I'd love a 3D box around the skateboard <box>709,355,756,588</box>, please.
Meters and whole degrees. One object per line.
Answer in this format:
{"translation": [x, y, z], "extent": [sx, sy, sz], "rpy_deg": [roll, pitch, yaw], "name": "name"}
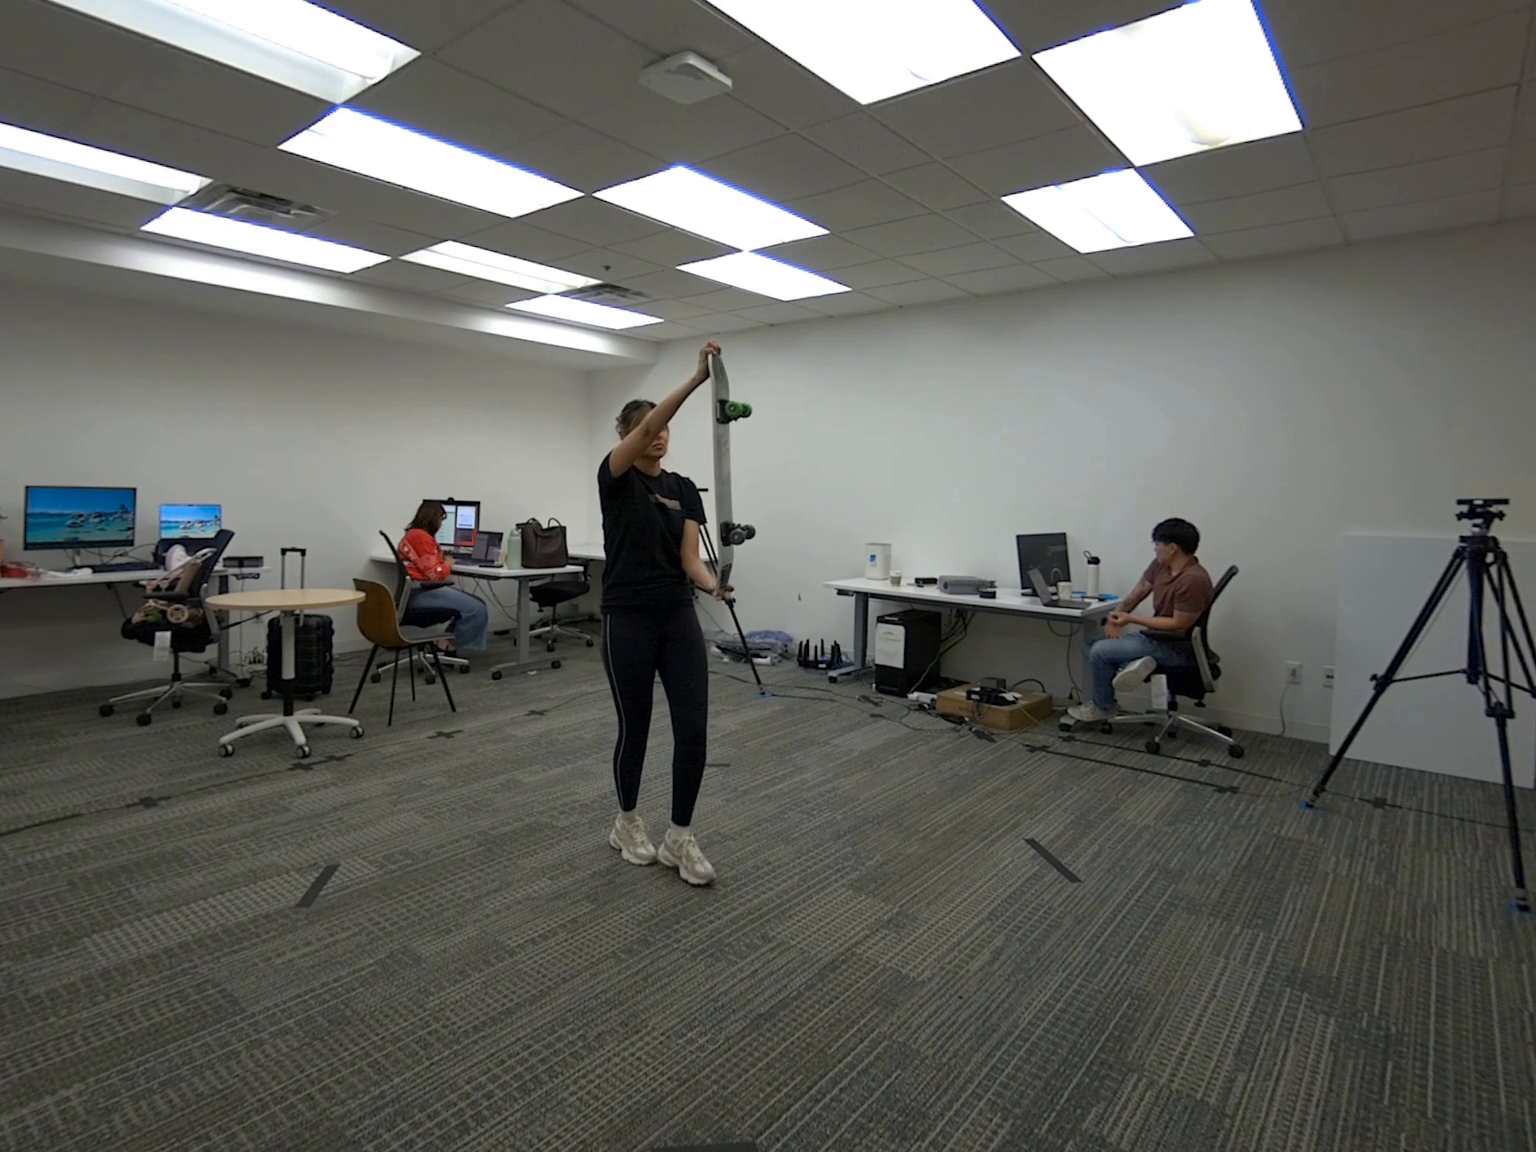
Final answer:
{"translation": [-0.128, -0.332, 2.717], "extent": [0.112, 0.780, 0.192], "rpy_deg": [0, 7, 13], "name": "skateboard"}
